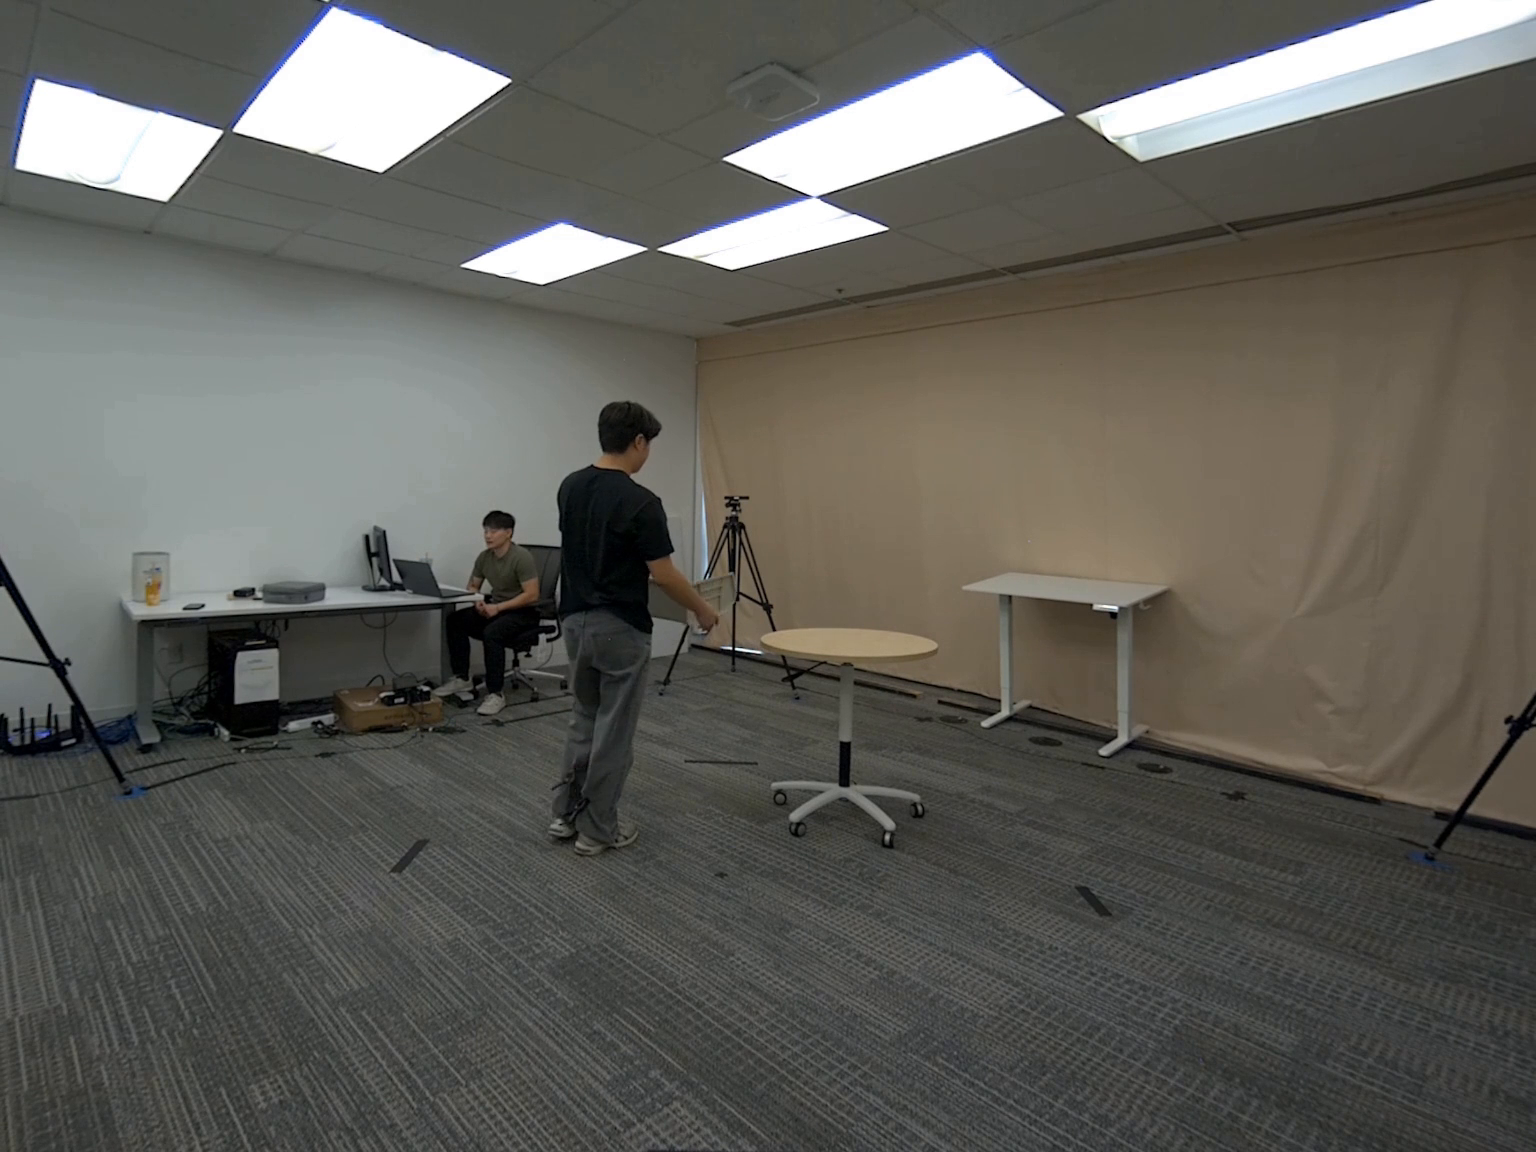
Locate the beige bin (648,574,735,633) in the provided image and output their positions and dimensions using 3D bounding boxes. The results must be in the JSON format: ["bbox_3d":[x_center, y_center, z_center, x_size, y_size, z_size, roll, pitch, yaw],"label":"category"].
[{"bbox_3d":[-0.407,0.065,3.693,0.432,0.187,0.371,9,14,31],"label":"beige bin"}]
